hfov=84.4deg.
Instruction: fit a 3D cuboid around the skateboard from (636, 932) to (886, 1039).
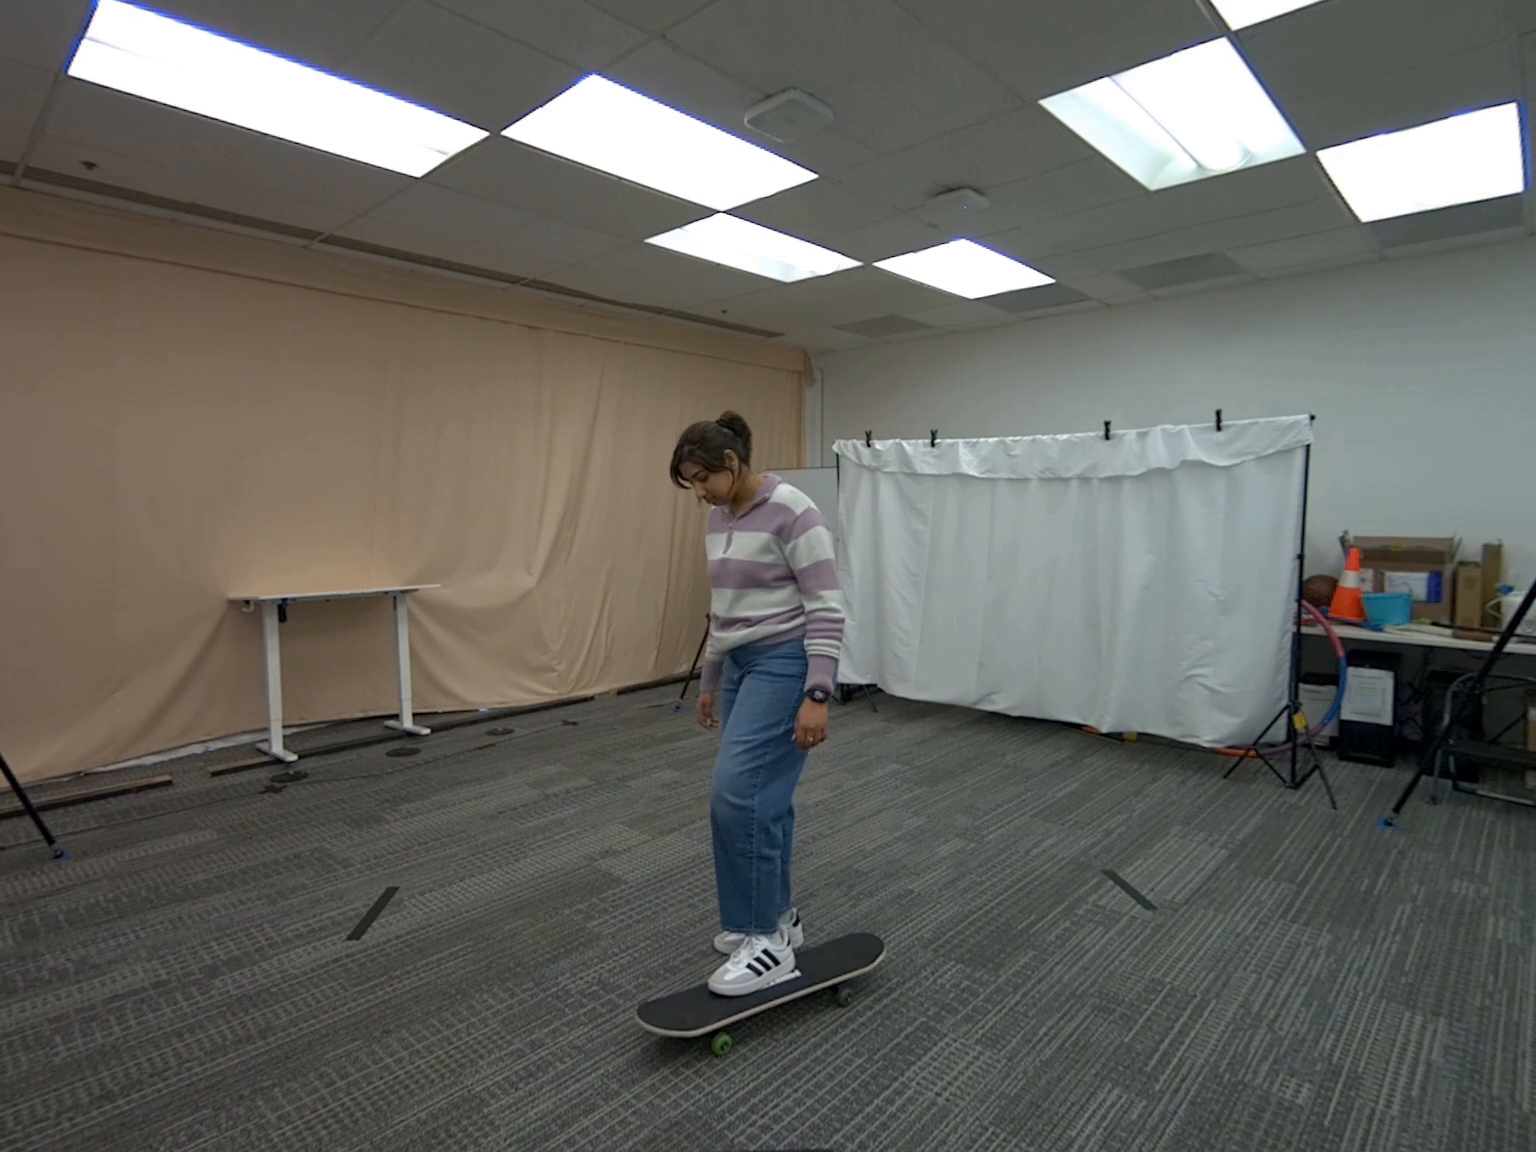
[{"bbox_3d":[0.003,1.145,2.306,0.764,0.110,0.199,-3,1,-30],"label":"skateboard"}]
